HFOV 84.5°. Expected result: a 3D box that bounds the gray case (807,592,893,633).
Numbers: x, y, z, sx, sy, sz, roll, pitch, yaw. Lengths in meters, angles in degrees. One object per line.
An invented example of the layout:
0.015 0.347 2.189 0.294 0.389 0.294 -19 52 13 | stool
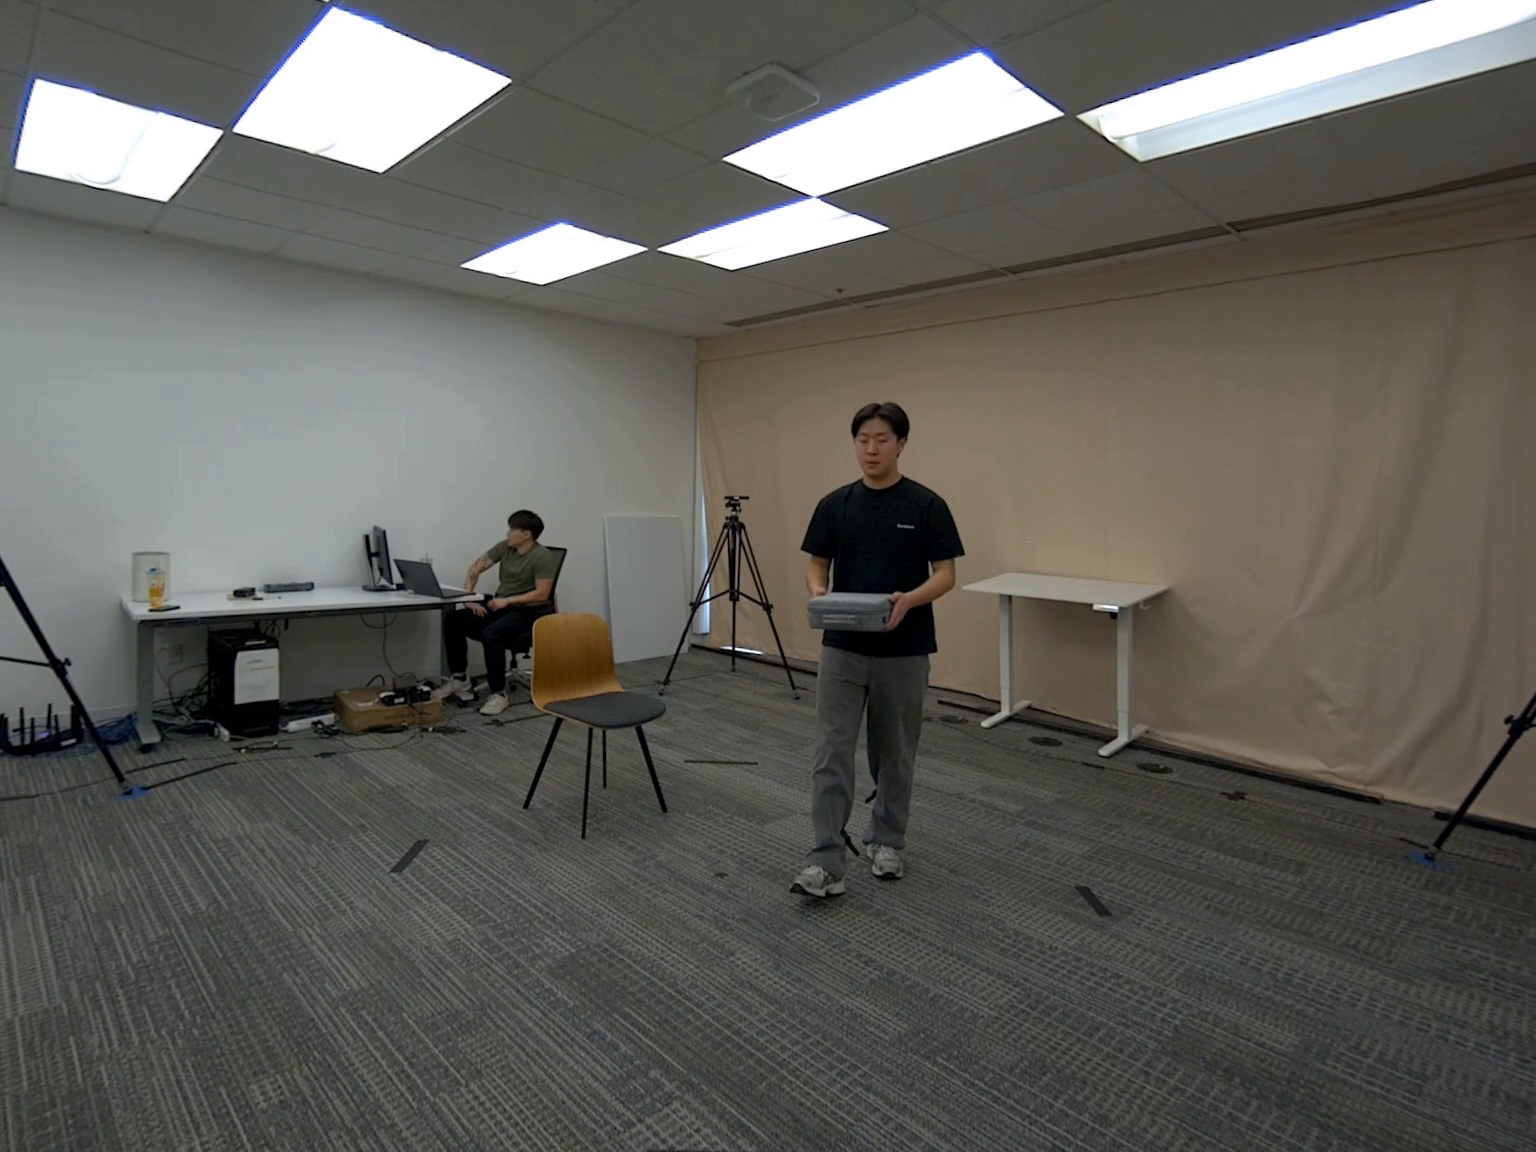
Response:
0.274 0.120 2.821 0.267 0.103 0.283 1 5 20 | gray case
